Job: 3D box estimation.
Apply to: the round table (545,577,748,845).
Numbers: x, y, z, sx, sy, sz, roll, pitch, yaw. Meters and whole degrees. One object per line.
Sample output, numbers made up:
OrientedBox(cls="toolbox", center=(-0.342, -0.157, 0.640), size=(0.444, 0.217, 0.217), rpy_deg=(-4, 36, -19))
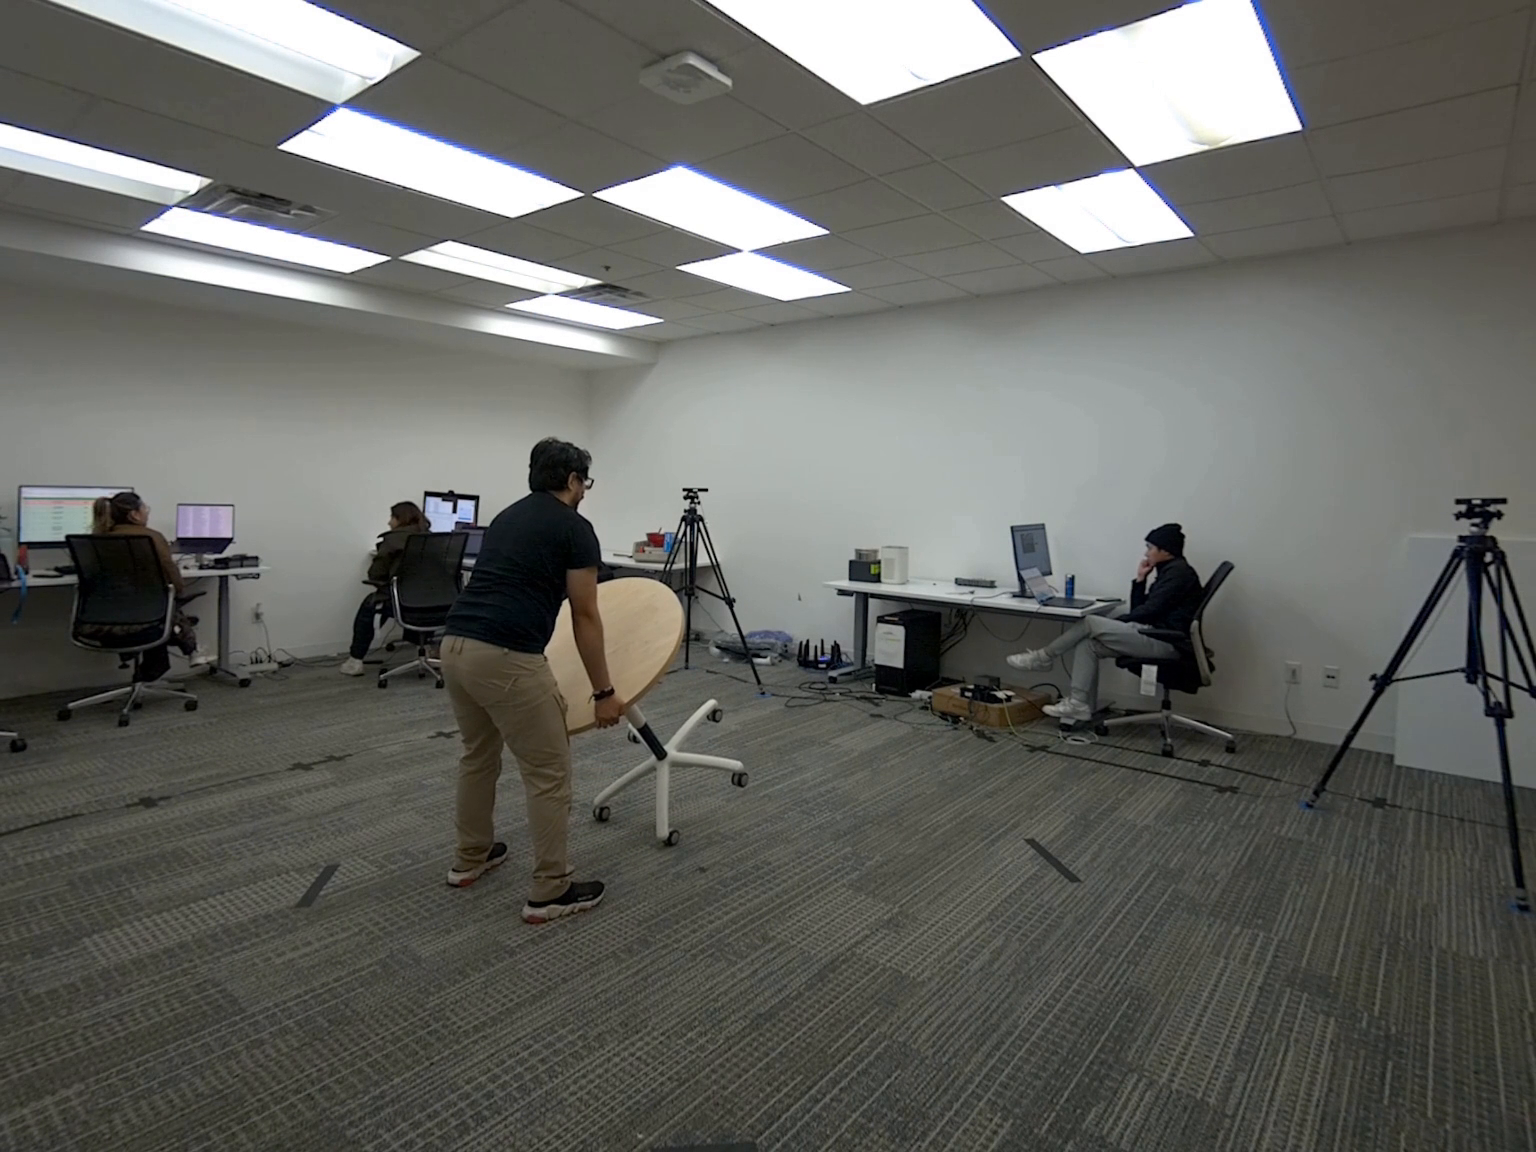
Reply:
OrientedBox(cls="round table", center=(-0.542, 0.563, 3.368), size=(0.792, 0.758, 0.808), rpy_deg=(-18, 36, 12))
